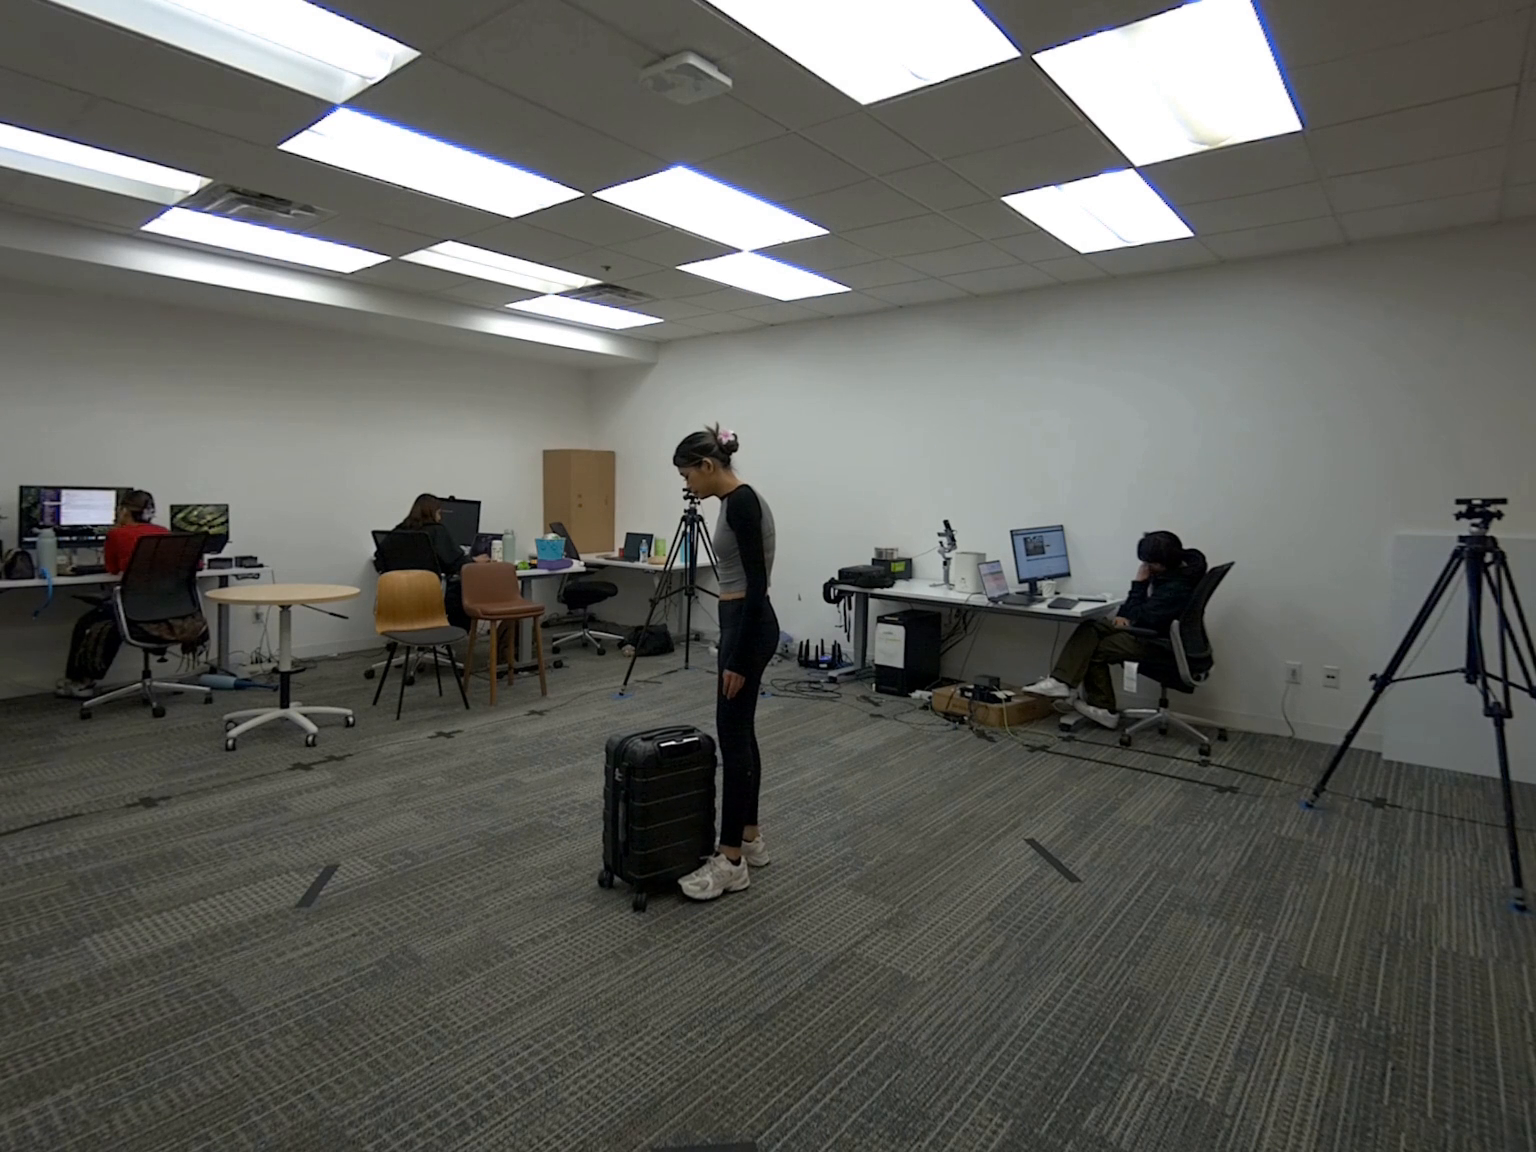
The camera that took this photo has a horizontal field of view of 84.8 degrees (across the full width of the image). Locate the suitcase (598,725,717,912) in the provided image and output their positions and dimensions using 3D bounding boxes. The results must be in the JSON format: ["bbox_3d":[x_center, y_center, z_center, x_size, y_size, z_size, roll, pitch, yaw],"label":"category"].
[{"bbox_3d":[-0.396,0.804,2.976,0.364,0.548,0.256,-2,3,-40],"label":"suitcase"}]
